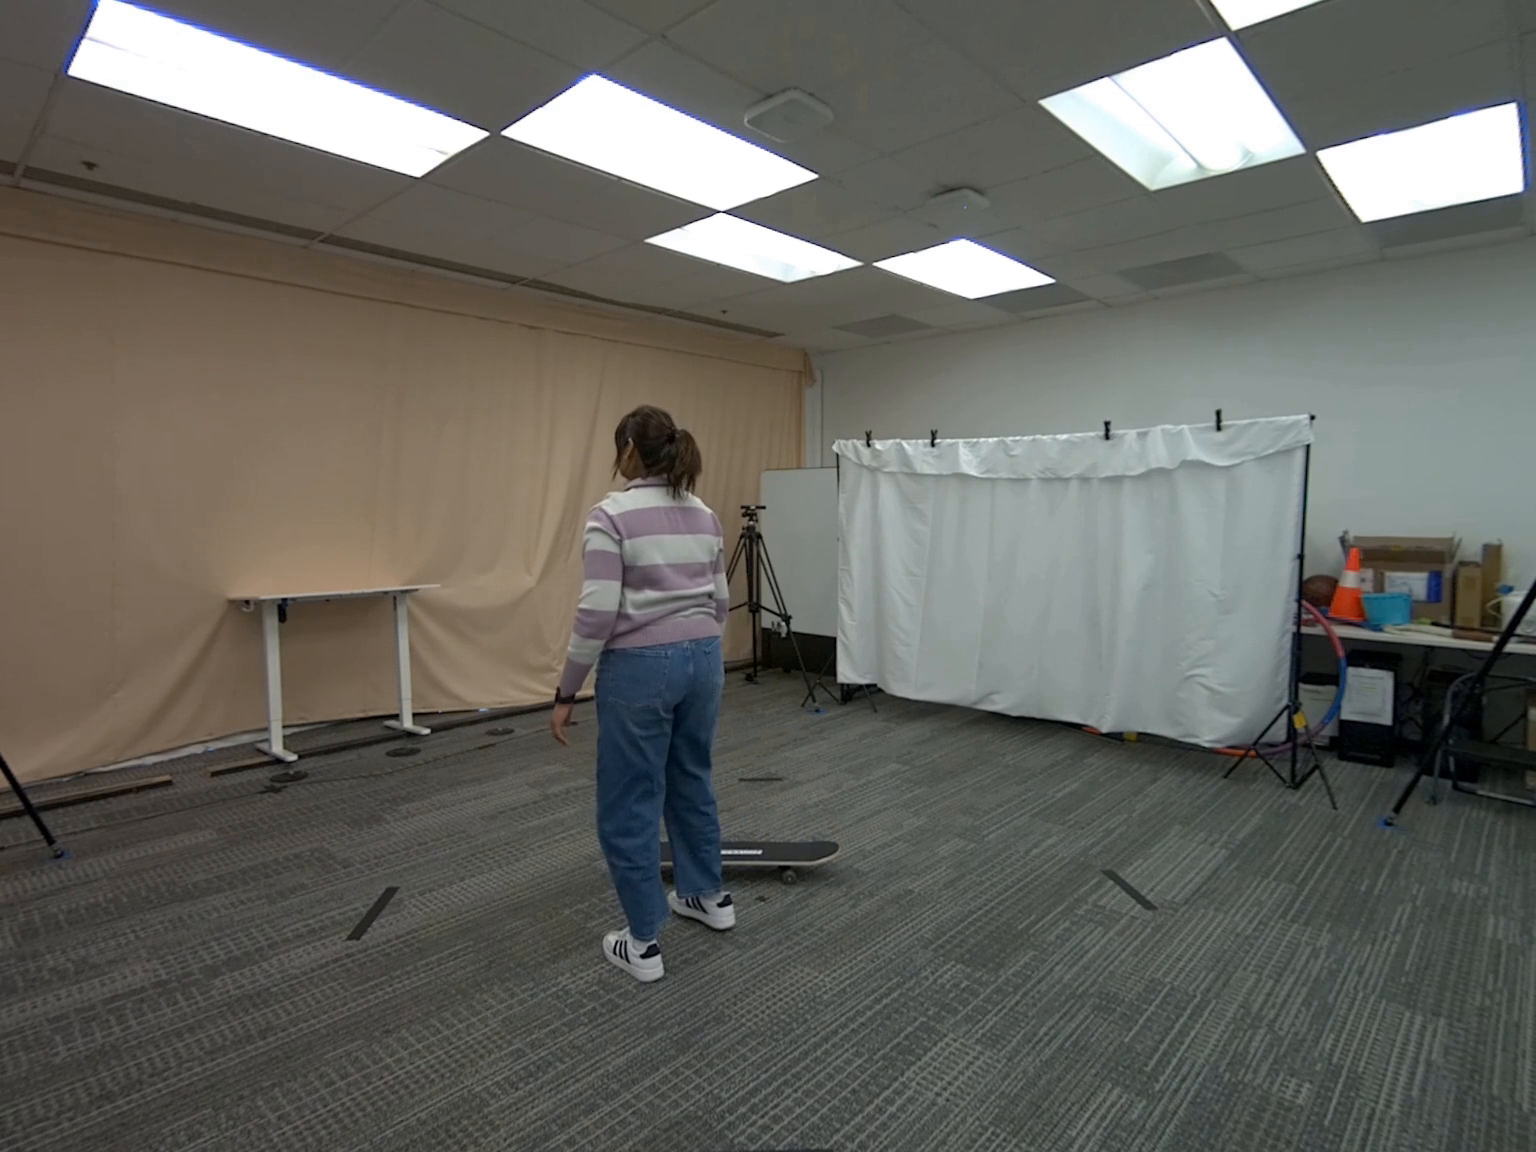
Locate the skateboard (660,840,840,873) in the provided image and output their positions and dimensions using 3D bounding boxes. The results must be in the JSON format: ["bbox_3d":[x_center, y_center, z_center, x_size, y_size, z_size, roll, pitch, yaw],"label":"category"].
[{"bbox_3d":[-0.117,1.074,3.170,0.786,0.110,0.194,0,5,1],"label":"skateboard"}]
